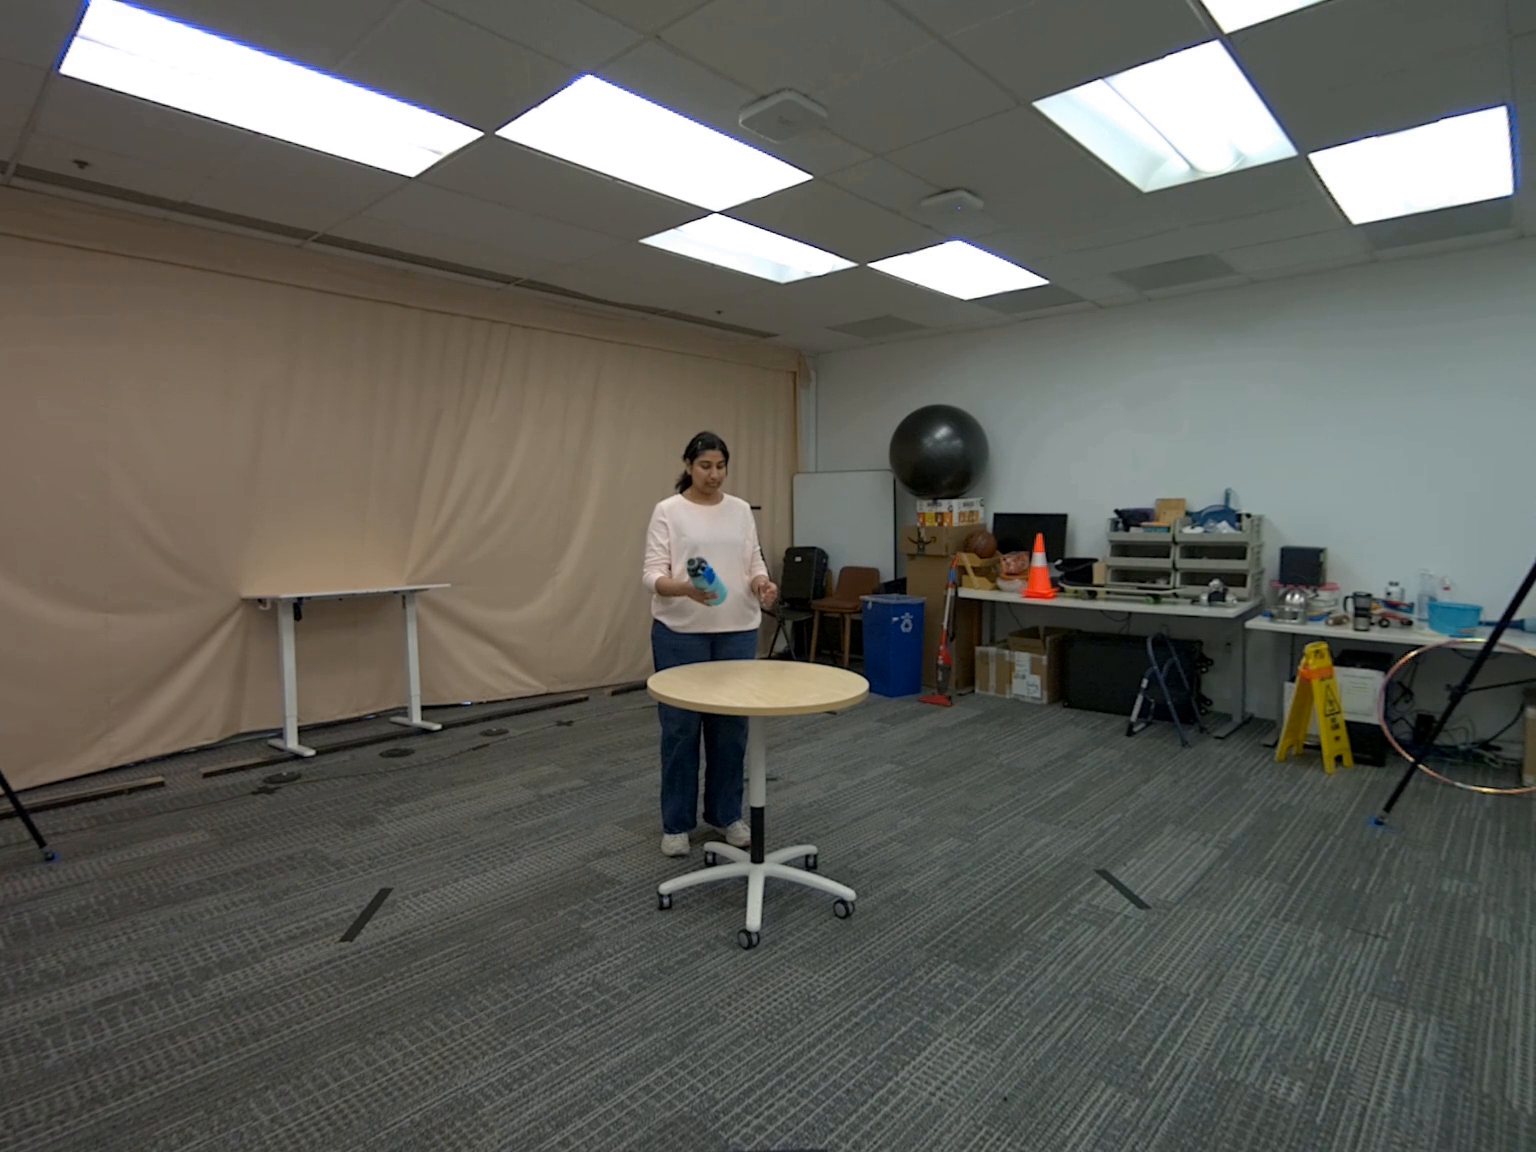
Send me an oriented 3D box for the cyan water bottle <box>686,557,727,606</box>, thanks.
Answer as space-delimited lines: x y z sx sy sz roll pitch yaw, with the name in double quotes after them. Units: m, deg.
-0.221 0.009 3.045 0.094 0.093 0.276 1 -24 13 "cyan water bottle"
